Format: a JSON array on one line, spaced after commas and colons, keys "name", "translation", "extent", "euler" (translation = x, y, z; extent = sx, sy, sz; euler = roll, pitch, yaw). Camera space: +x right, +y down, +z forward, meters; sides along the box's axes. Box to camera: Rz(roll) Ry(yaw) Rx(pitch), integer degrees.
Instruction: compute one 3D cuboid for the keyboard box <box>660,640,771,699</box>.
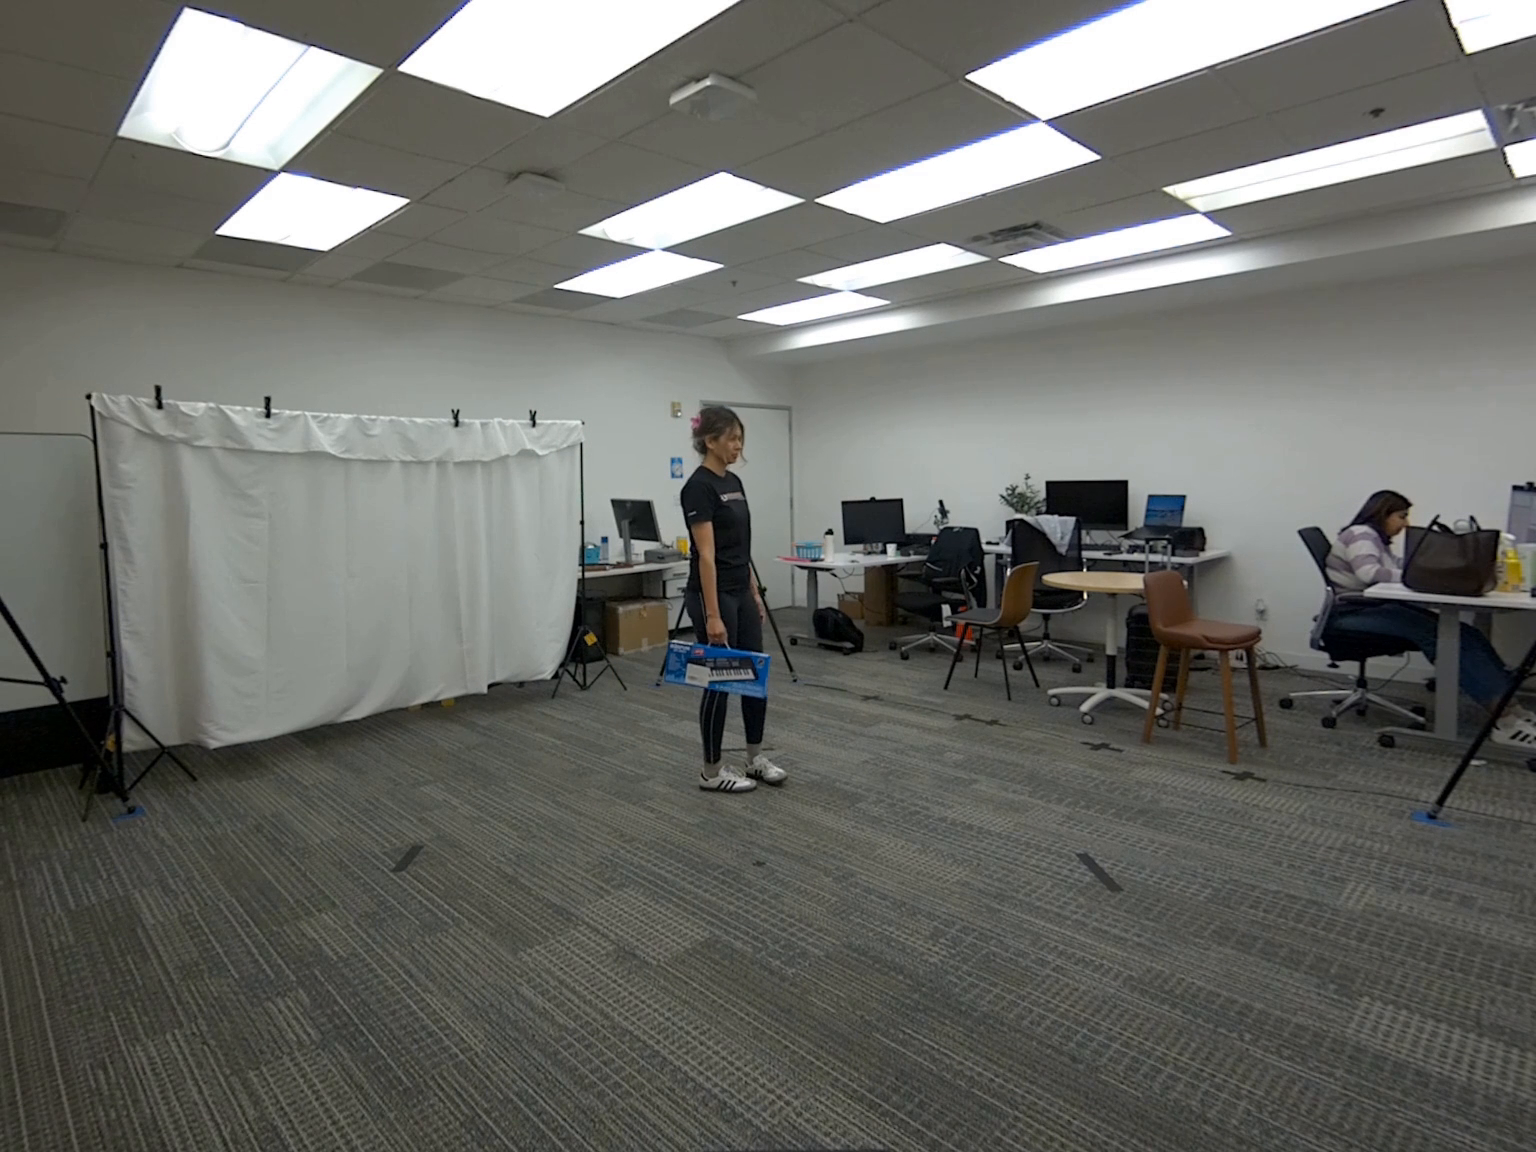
[{"name": "keyboard box", "translation": [-0.217, 0.384, 3.567], "extent": [0.444, 0.175, 0.058], "euler": [8, 4, 16]}]
